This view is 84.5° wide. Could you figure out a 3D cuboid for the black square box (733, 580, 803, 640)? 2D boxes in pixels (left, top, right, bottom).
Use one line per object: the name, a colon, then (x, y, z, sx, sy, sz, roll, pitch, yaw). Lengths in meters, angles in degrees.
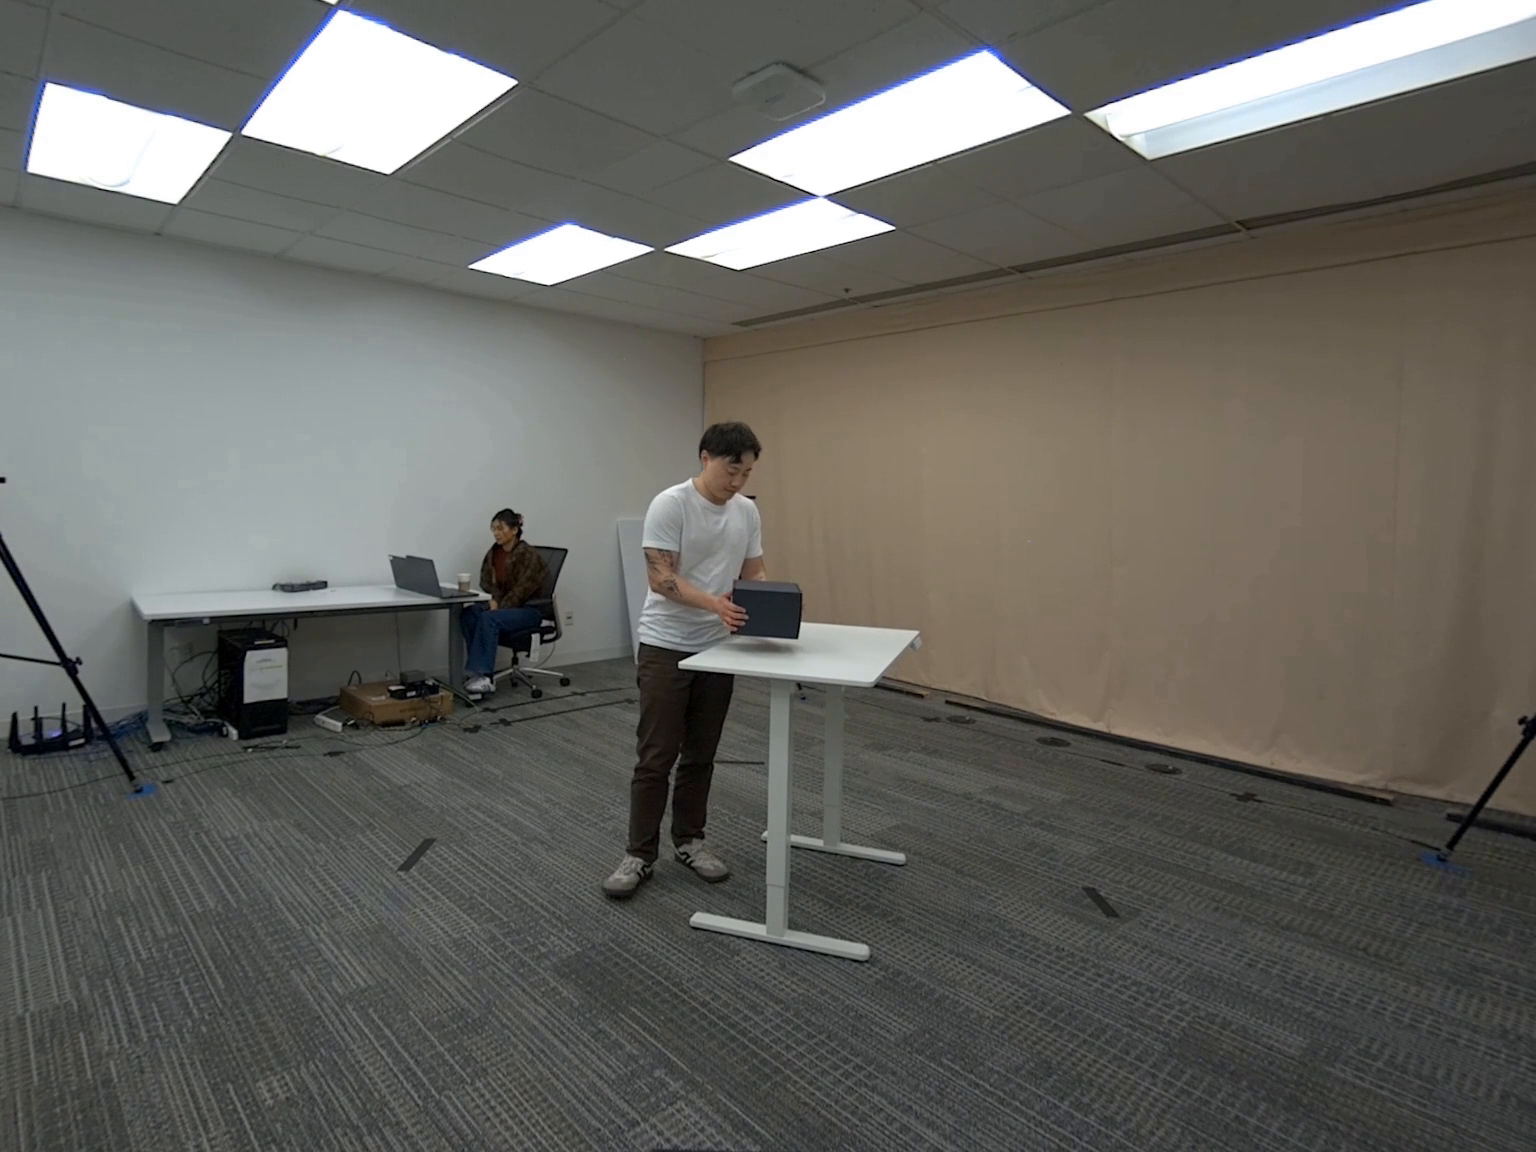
black square box: (-0.026, 0.110, 2.843, 0.229, 0.155, 0.217, 4, 7, 4)
